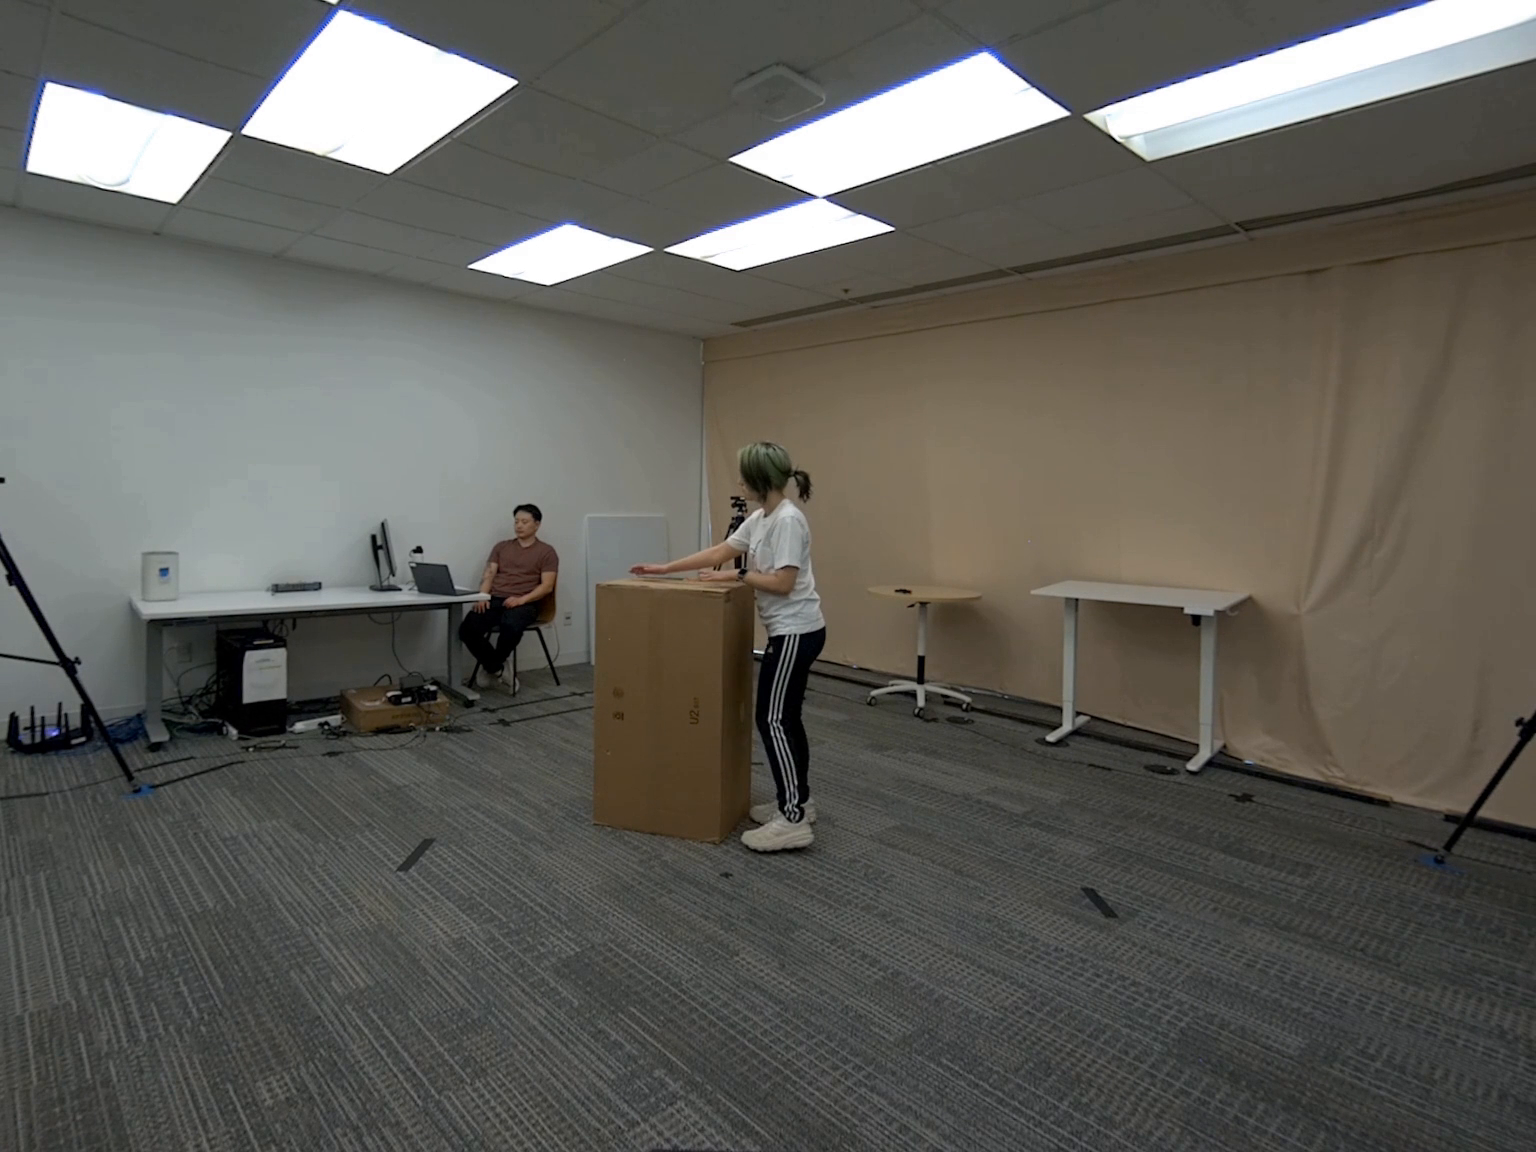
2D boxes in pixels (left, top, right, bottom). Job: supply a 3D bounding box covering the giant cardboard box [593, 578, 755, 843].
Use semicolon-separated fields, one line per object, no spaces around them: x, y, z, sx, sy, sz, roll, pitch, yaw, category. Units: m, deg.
-0.407;0.541;3.640;0.592;1.024;0.441;3;4;17;giant cardboard box
